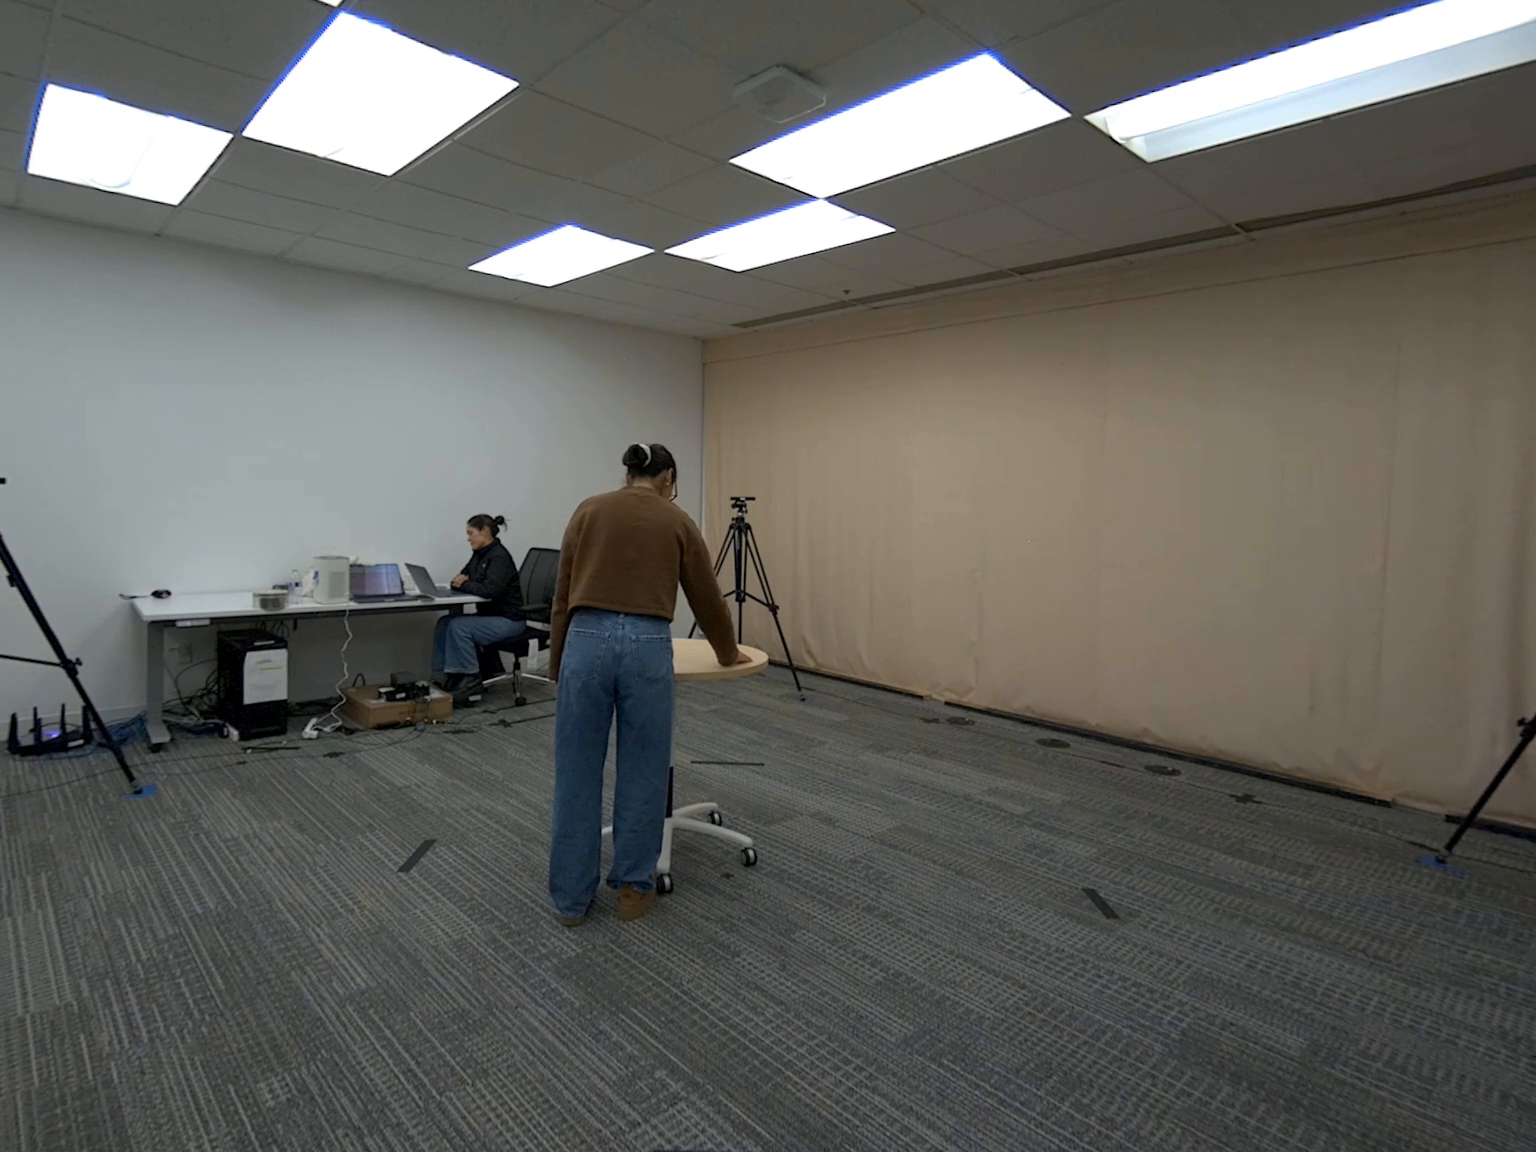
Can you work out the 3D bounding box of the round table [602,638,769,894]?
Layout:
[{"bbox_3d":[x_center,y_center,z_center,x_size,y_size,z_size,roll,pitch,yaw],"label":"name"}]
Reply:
[{"bbox_3d":[-0.401,0.699,3.298,0.763,0.792,0.766,1,3,-1],"label":"round table"}]
